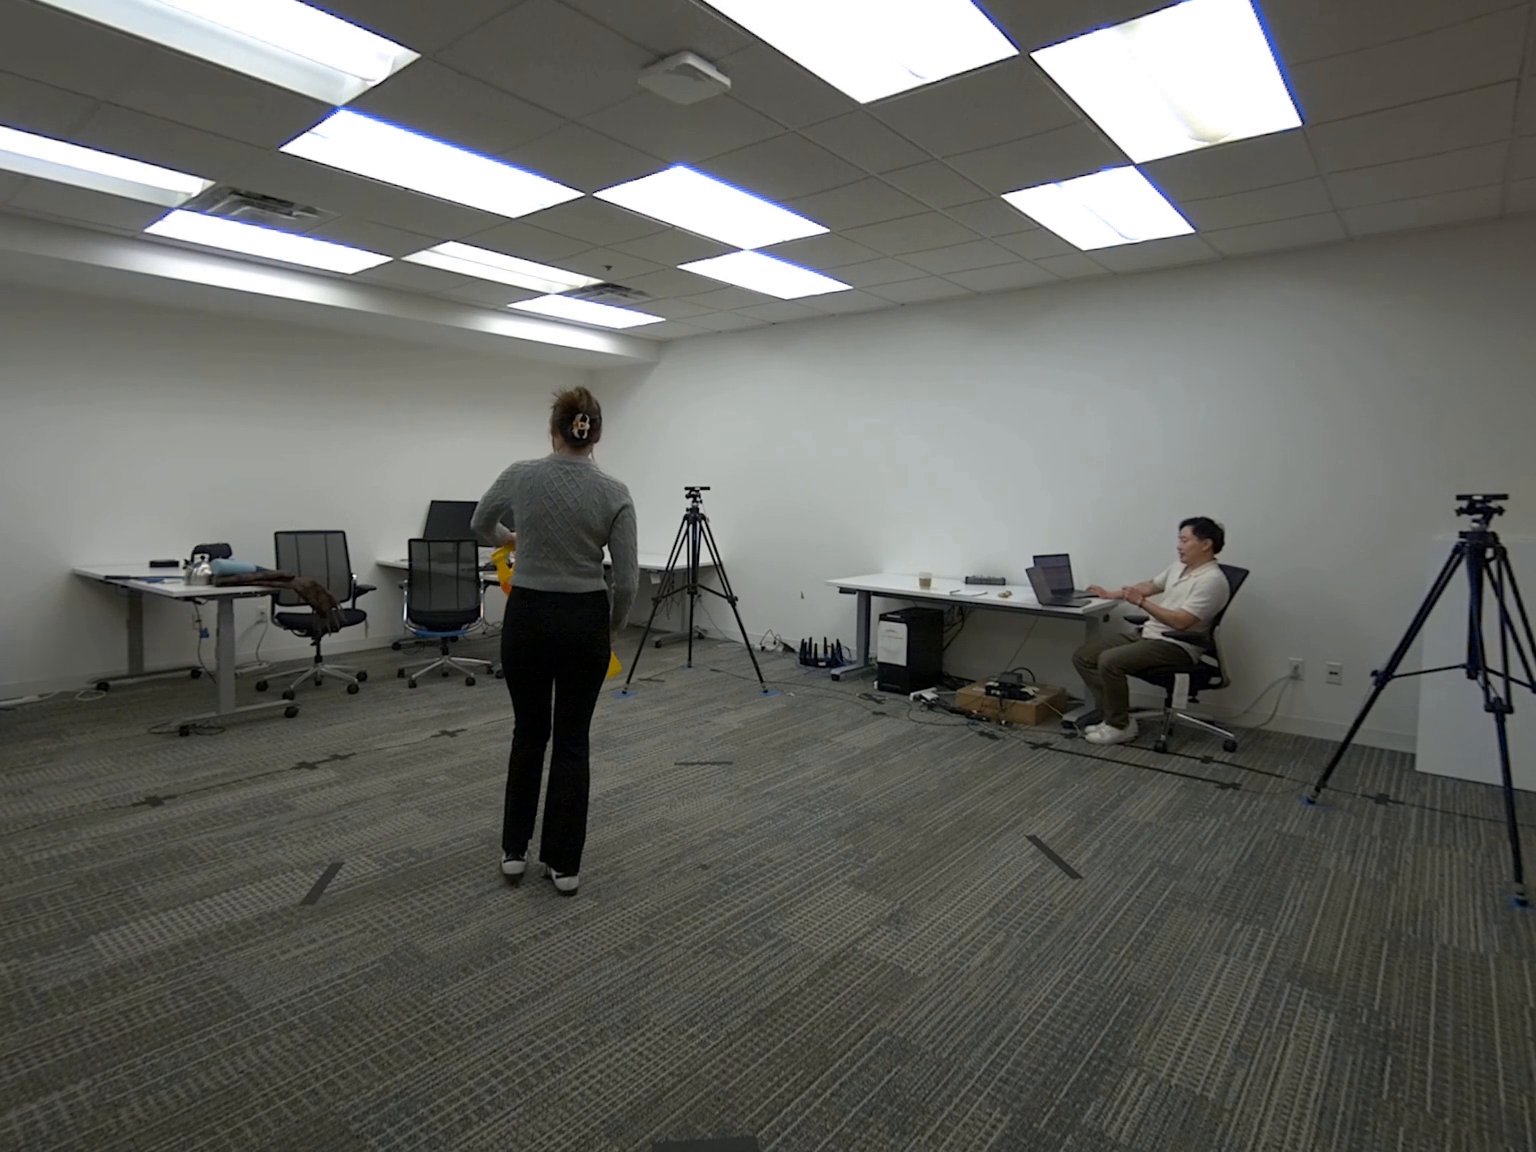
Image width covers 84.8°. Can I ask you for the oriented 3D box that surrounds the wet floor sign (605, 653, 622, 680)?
[{"bbox_3d":[-0.896,0.142,3.436,0.280,0.633,0.298,-30,17,-15],"label":"wet floor sign"}]
